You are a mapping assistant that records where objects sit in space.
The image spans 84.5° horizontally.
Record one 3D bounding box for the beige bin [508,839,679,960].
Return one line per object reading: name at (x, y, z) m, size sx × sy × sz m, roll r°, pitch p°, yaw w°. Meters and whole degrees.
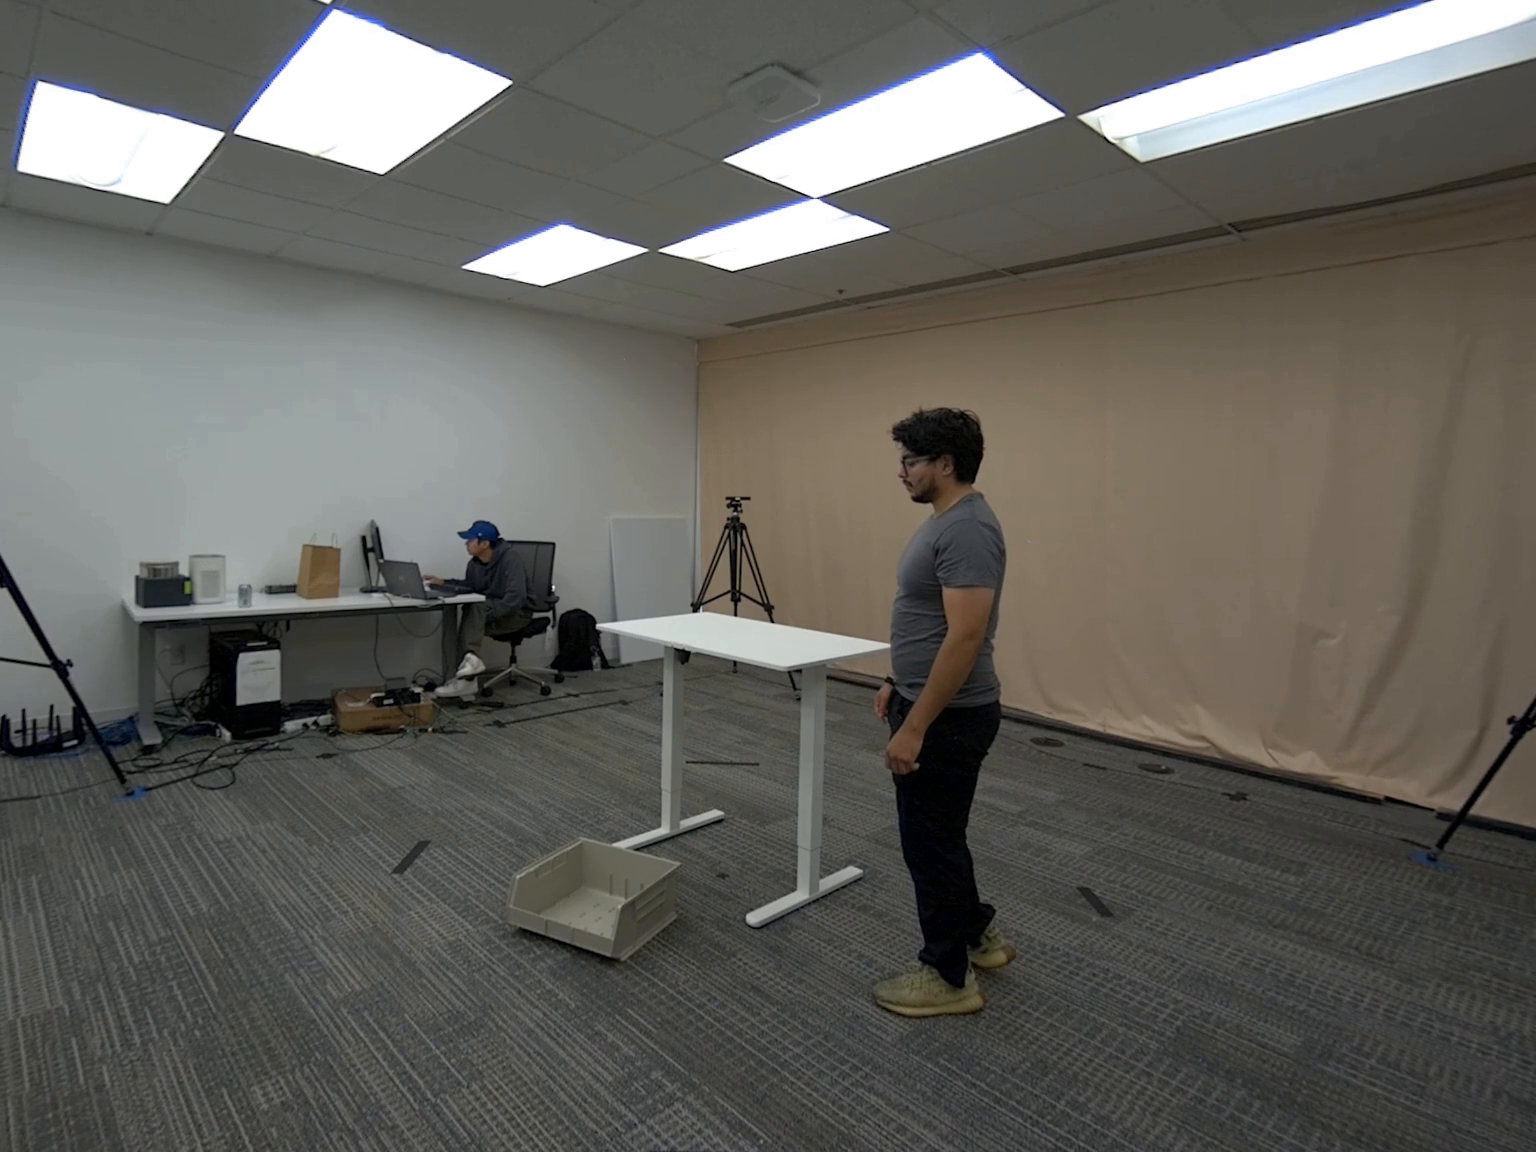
beige bin at (-0.561, 1.046, 2.722) m, size 0.431 × 0.188 × 0.371 m, roll 3°, pitch 5°, yaw 26°
